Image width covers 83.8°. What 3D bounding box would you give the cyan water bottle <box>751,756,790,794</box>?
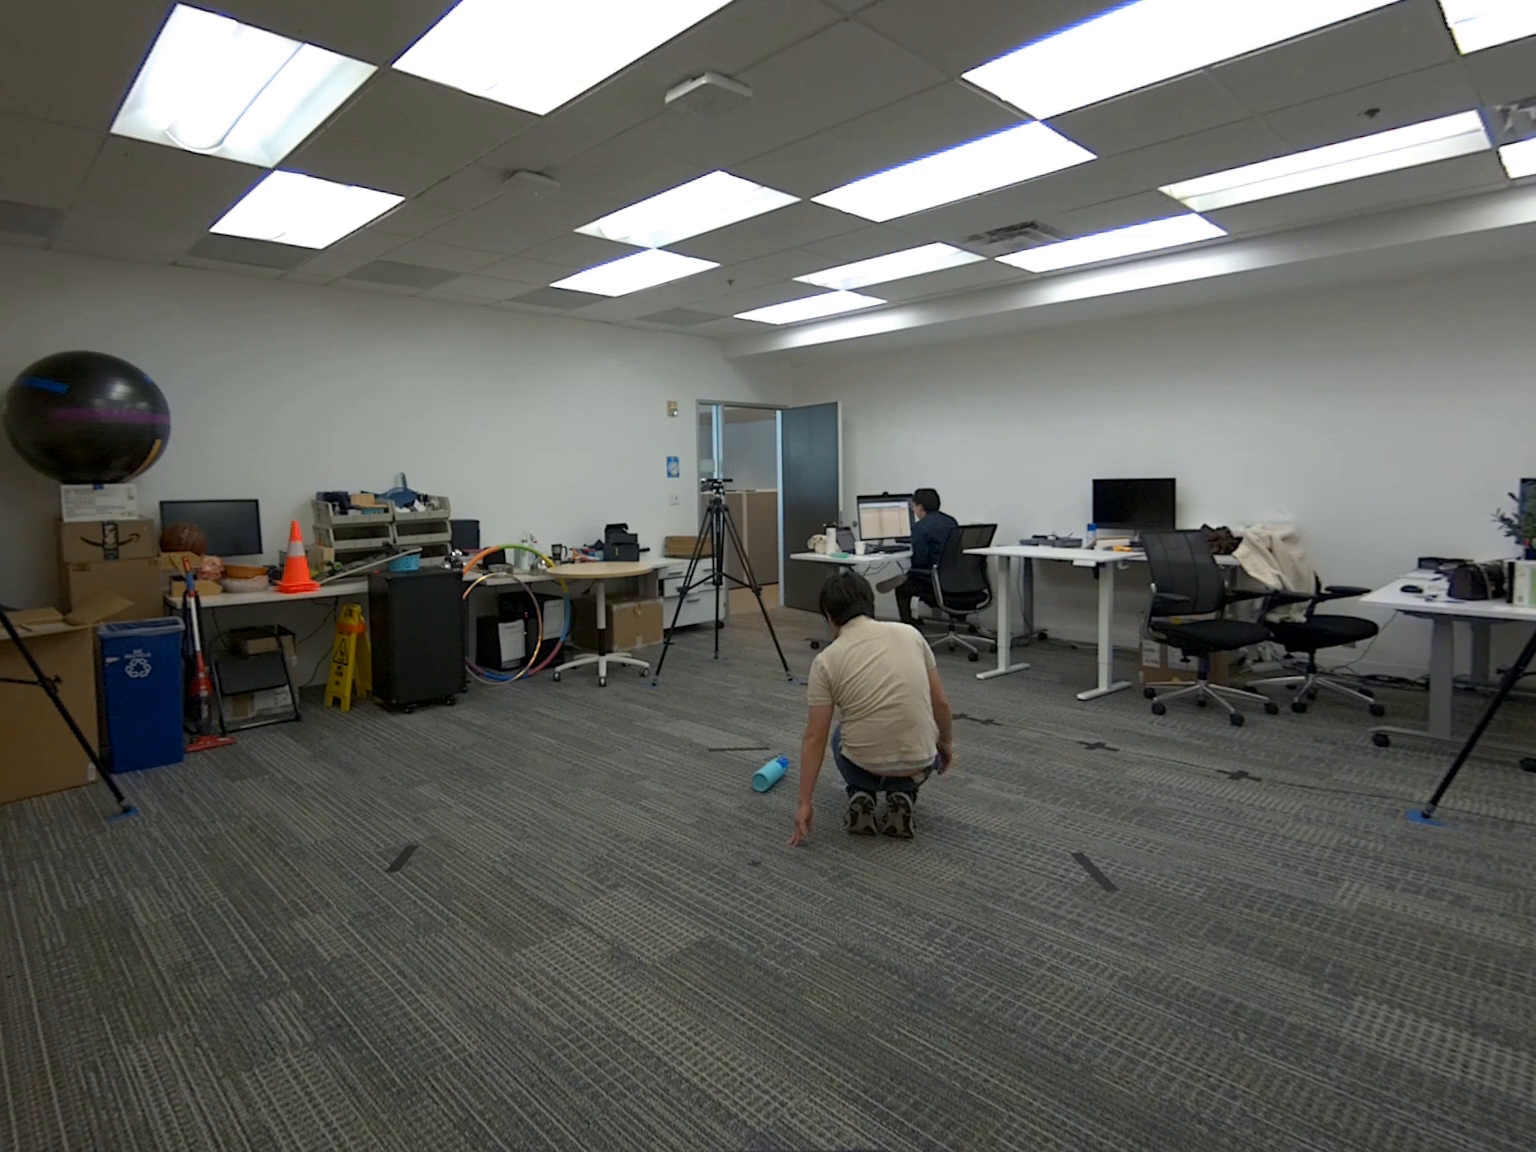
[{"bbox_3d":[0.018,0.905,3.934,0.094,0.092,0.278,1,6,22],"label":"cyan water bottle"}]
